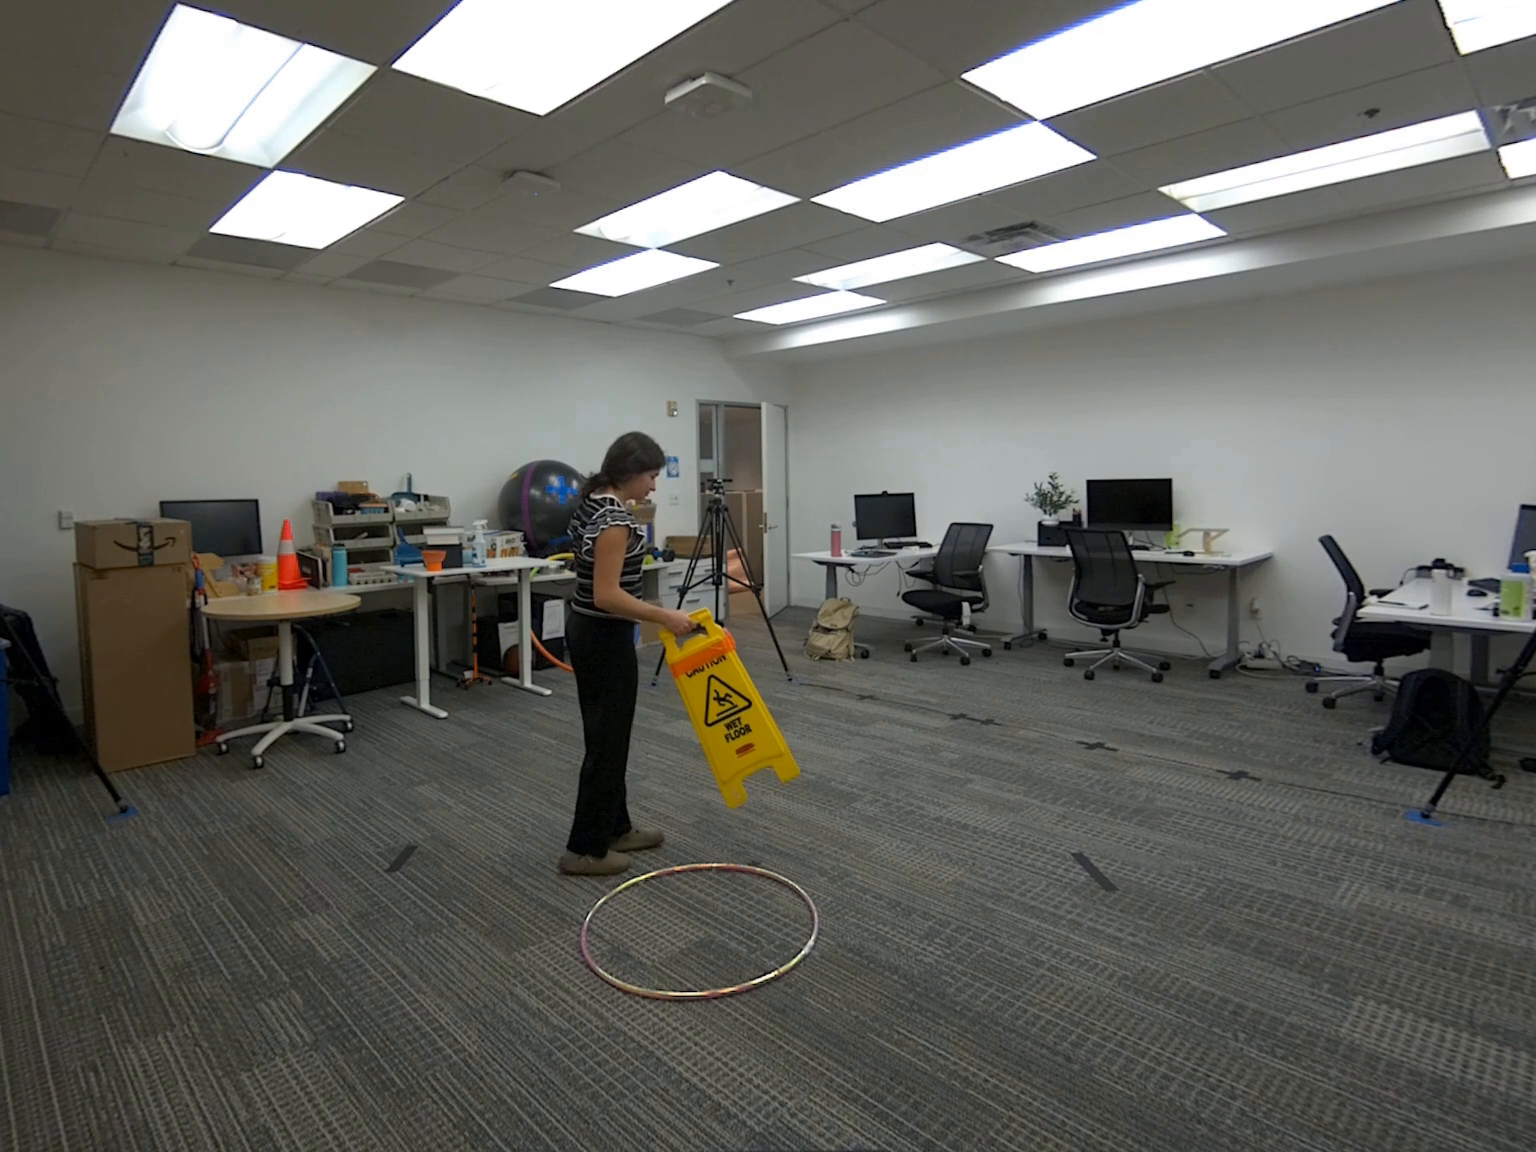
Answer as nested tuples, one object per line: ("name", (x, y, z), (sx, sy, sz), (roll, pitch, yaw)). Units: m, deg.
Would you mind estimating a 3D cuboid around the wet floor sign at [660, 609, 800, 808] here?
("wet floor sign", (-0.173, 0.439, 3.021), (0.281, 0.640, 0.293), (-23, 8, -5))
